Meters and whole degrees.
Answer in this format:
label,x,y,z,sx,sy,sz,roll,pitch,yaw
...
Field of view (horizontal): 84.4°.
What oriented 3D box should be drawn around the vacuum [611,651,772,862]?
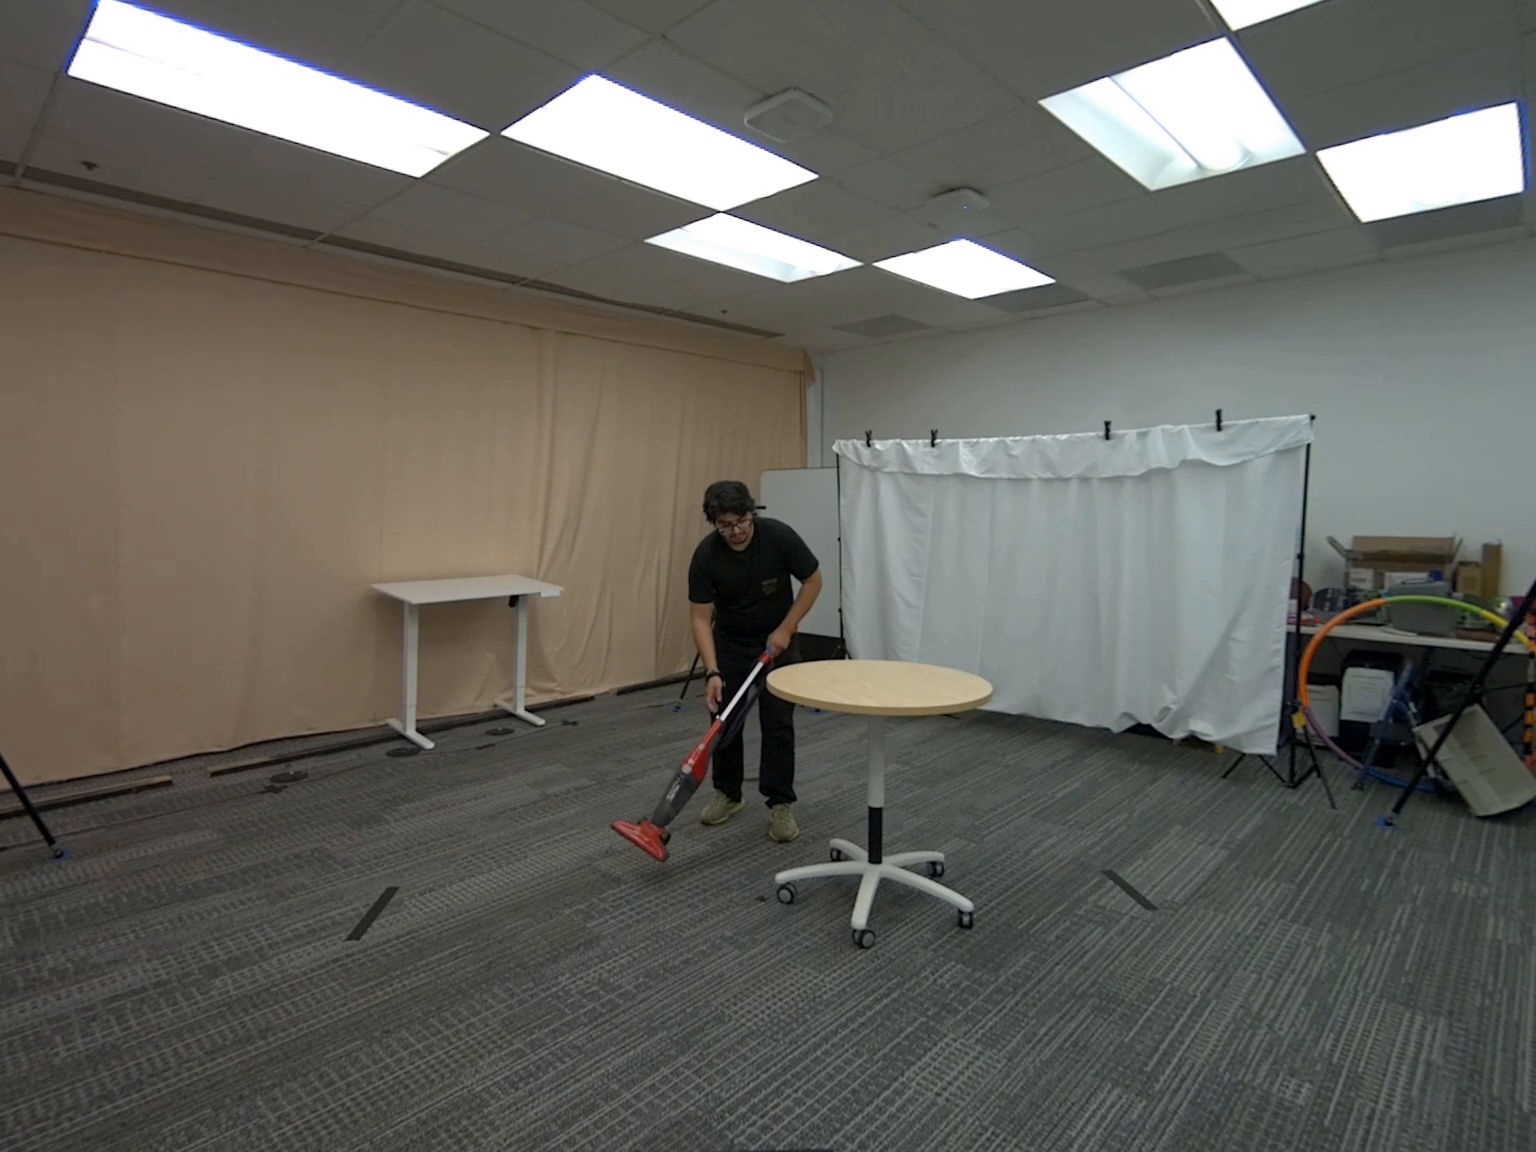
label,x,y,z,sx,sy,sz,roll,pitch,yaw
vacuum,-0.179,0.609,3.355,0.259,1.046,0.141,28,-23,21
